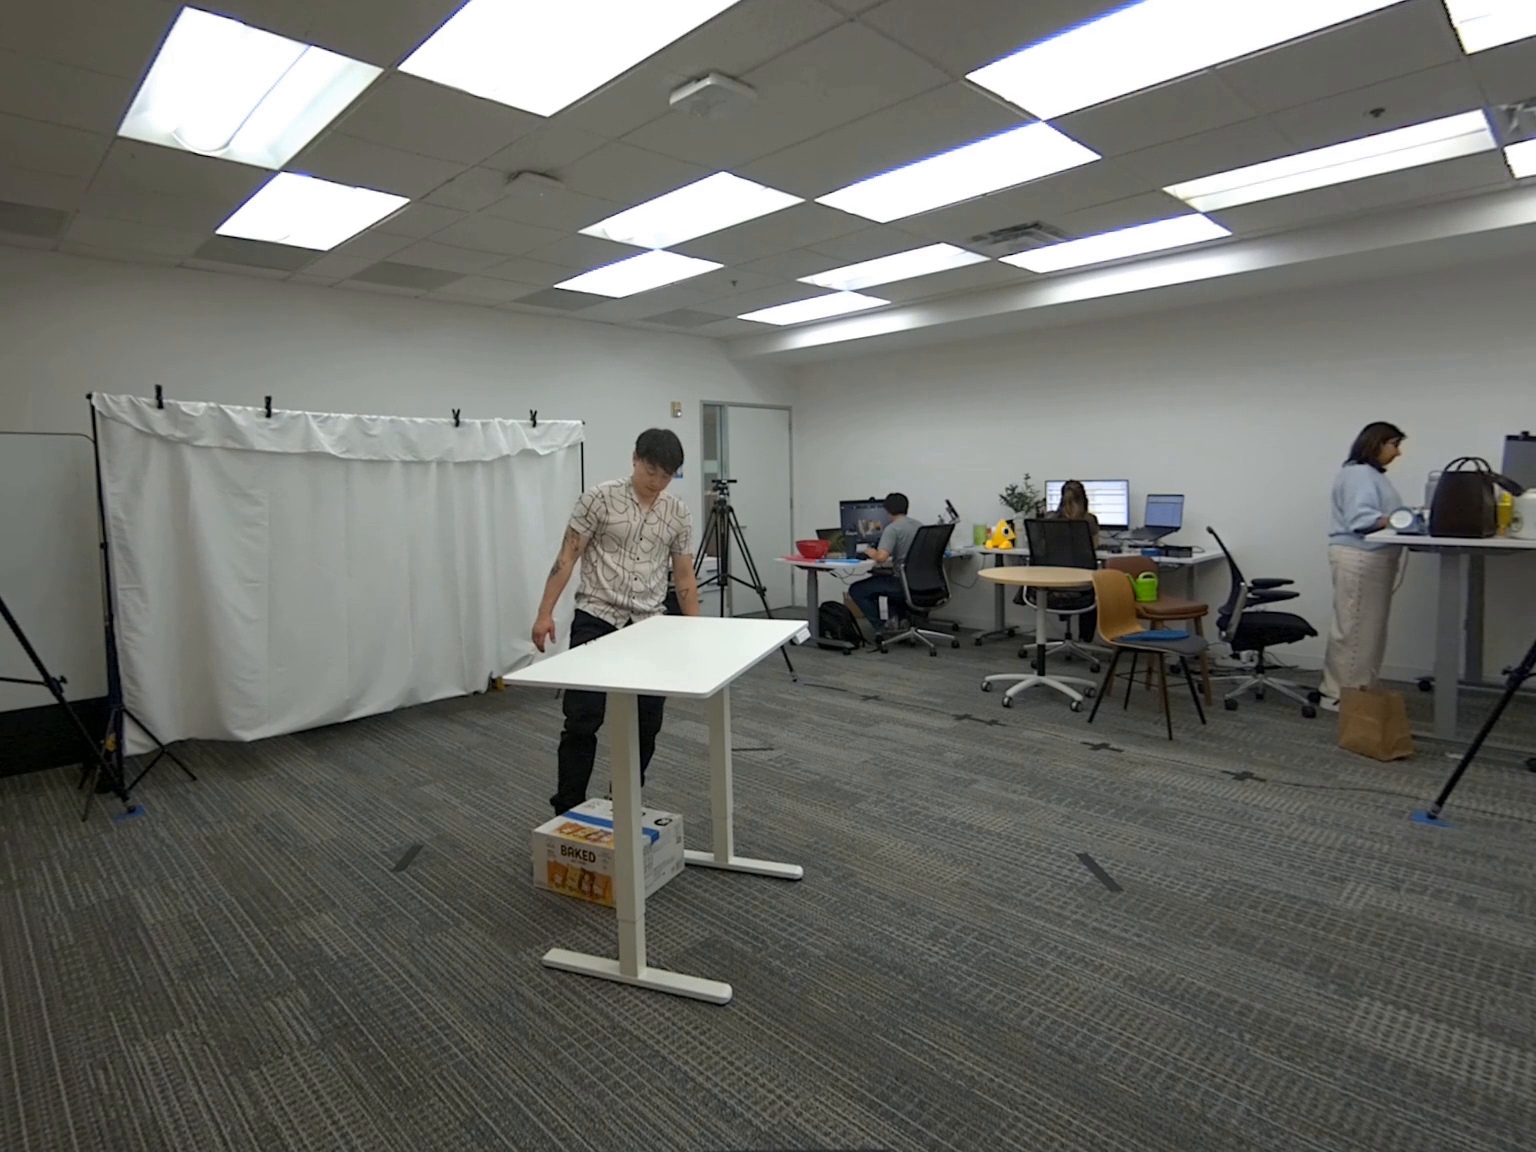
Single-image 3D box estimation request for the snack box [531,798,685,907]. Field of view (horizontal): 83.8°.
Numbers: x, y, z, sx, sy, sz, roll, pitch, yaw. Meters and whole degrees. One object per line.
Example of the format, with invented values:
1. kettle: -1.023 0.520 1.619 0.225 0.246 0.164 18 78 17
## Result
1. snack box: -0.549 0.971 2.999 0.415 0.204 0.334 1 8 27
